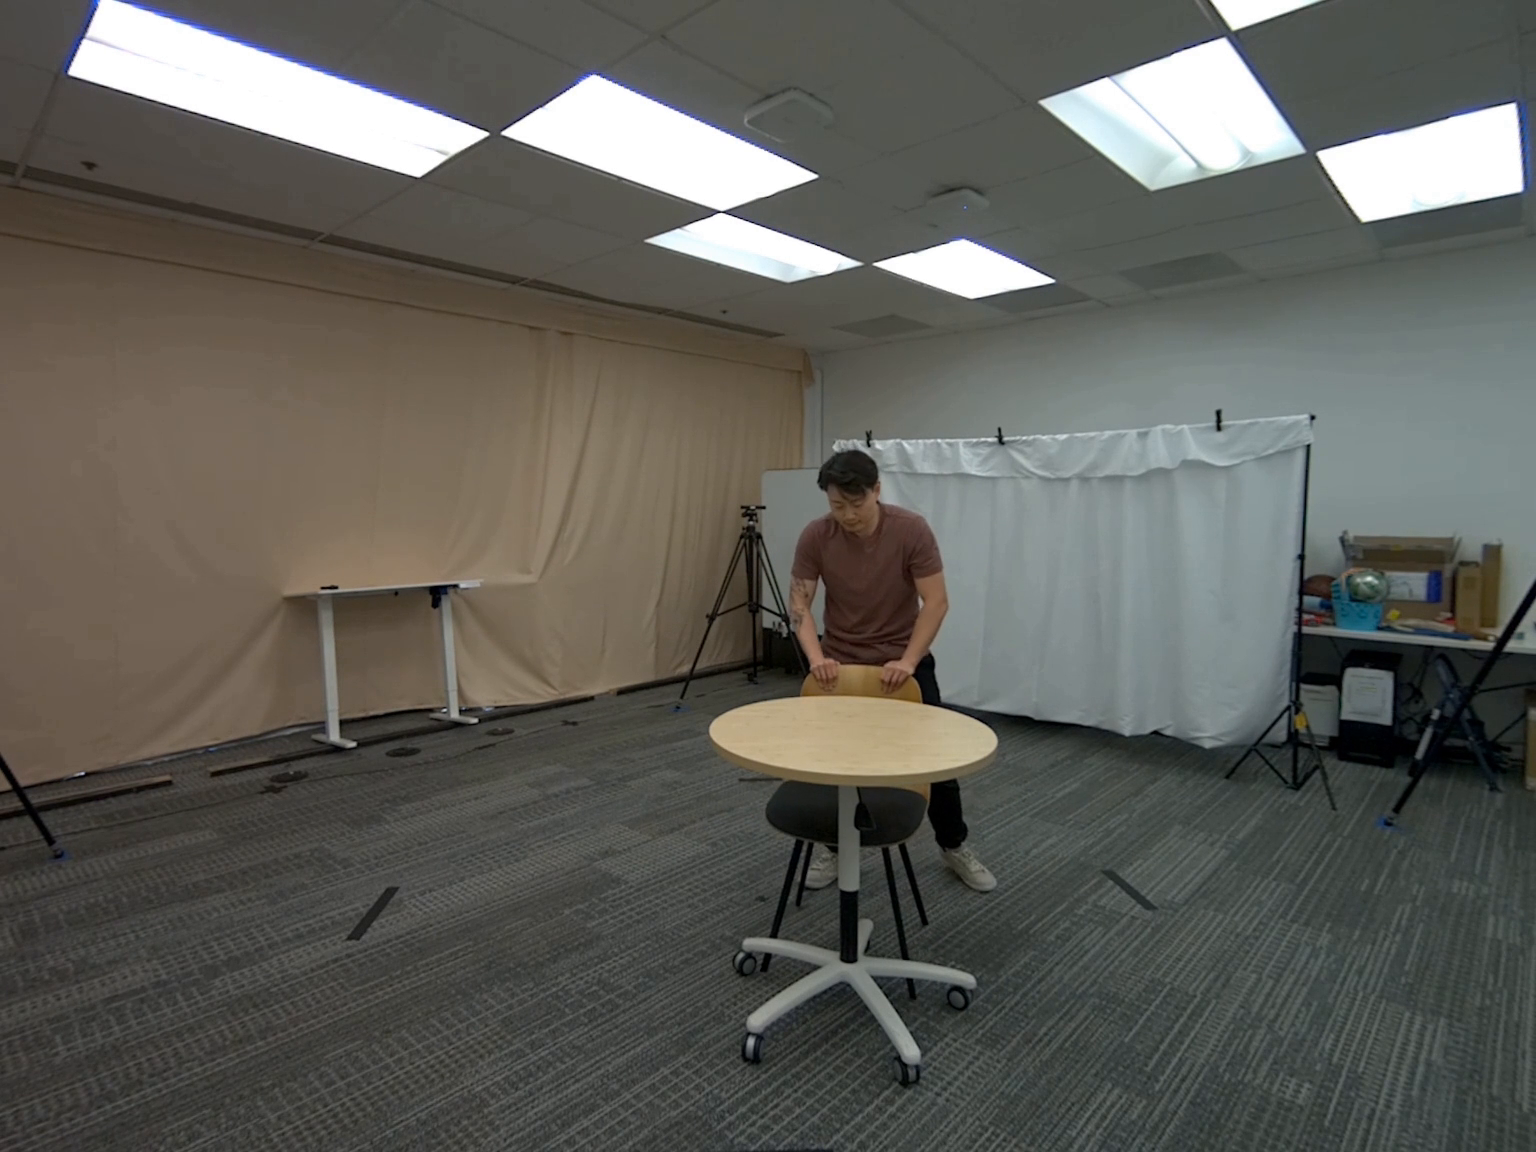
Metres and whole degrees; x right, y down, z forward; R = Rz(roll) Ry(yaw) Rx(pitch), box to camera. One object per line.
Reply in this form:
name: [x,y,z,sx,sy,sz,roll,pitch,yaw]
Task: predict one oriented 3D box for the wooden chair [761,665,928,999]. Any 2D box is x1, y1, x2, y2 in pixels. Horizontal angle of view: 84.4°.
wooden chair: [0.260,0.741,2.624,0.488,0.878,0.512,1,-1,18]
